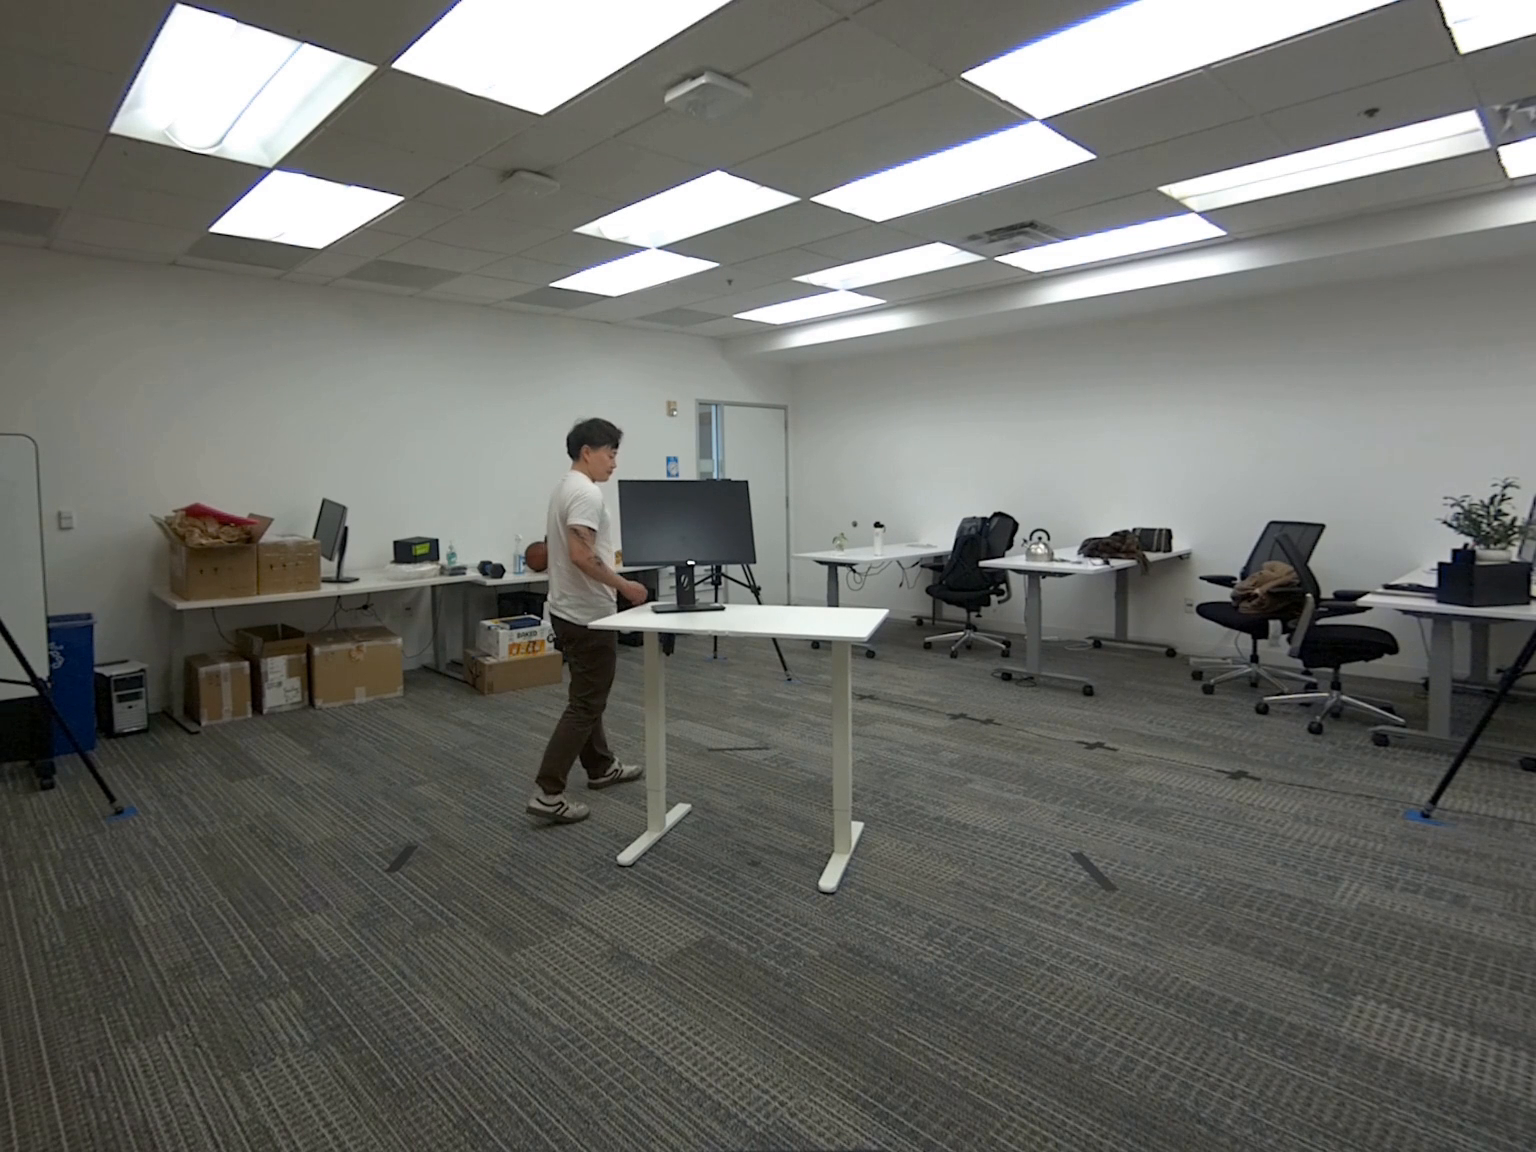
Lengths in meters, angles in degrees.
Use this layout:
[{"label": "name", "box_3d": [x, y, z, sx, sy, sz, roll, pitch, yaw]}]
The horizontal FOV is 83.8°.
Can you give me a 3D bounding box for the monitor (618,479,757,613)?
[{"label": "monitor", "box_3d": [-0.327, -0.123, 3.407, 0.530, 0.522, 0.190, -2, 1, -19]}]
